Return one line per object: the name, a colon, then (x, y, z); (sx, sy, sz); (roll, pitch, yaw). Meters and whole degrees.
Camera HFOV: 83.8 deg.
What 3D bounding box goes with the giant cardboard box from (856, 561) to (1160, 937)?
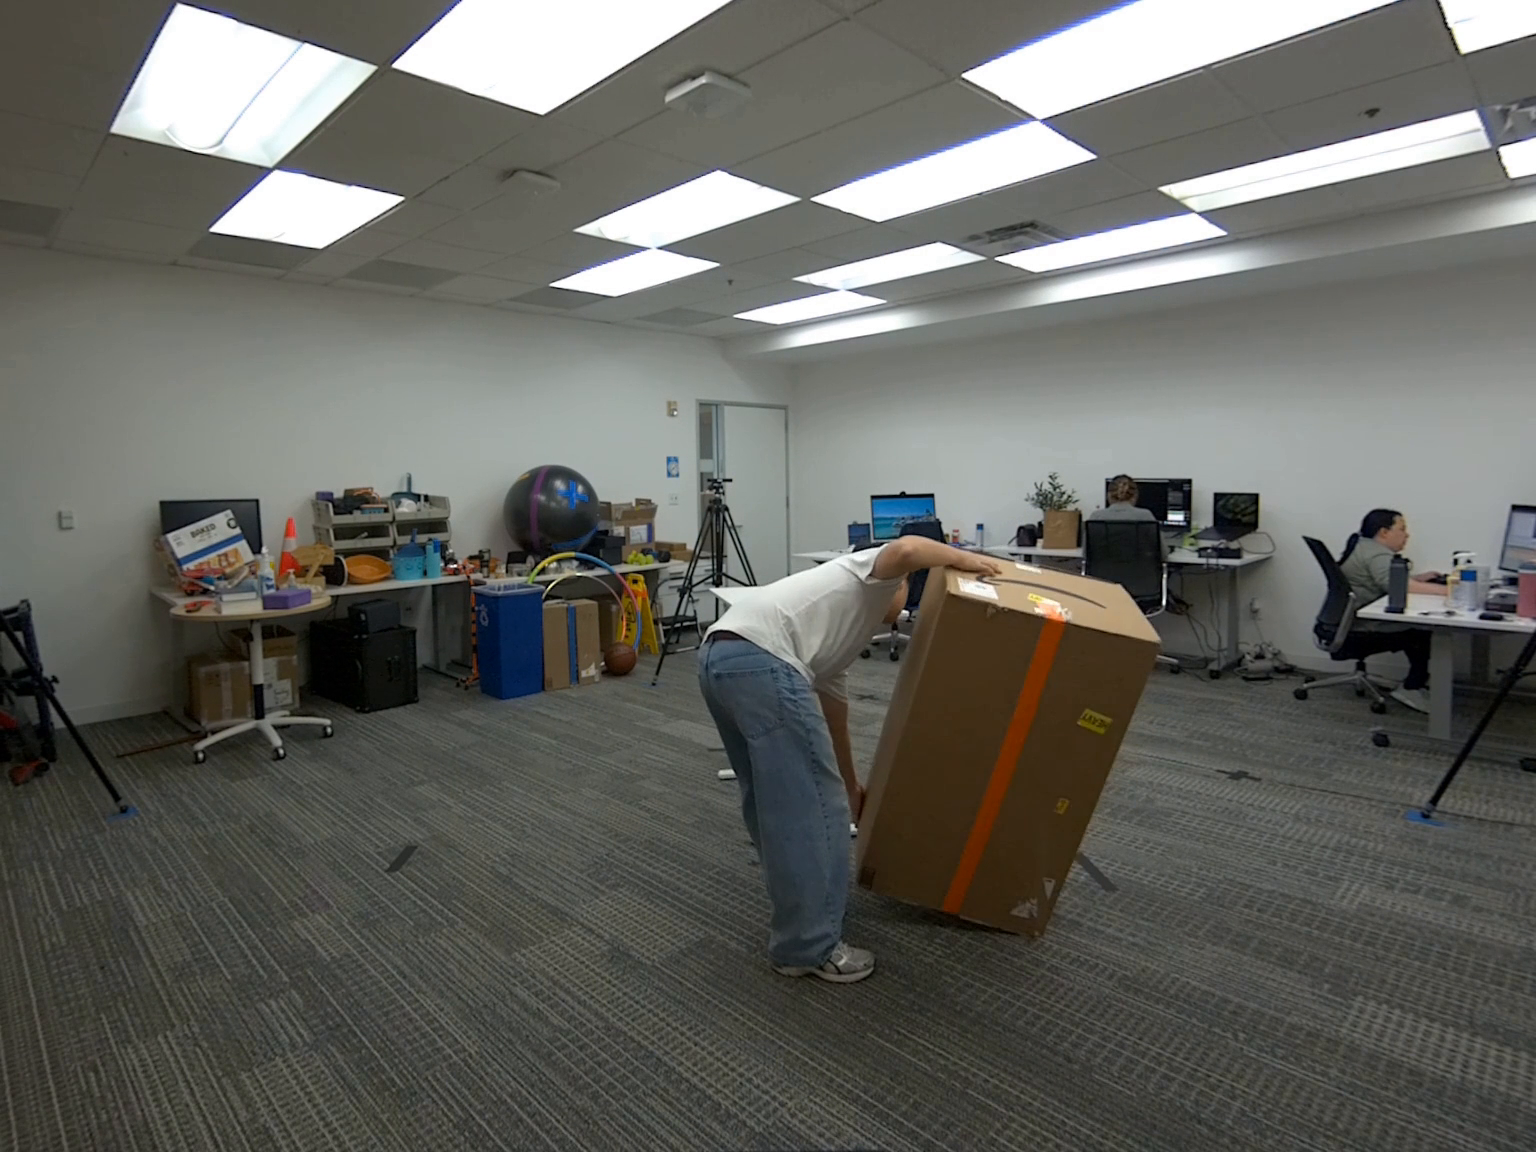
giant cardboard box: (0.685, 0.495, 2.626); (0.581, 1.012, 0.429); (13, 20, 5)
